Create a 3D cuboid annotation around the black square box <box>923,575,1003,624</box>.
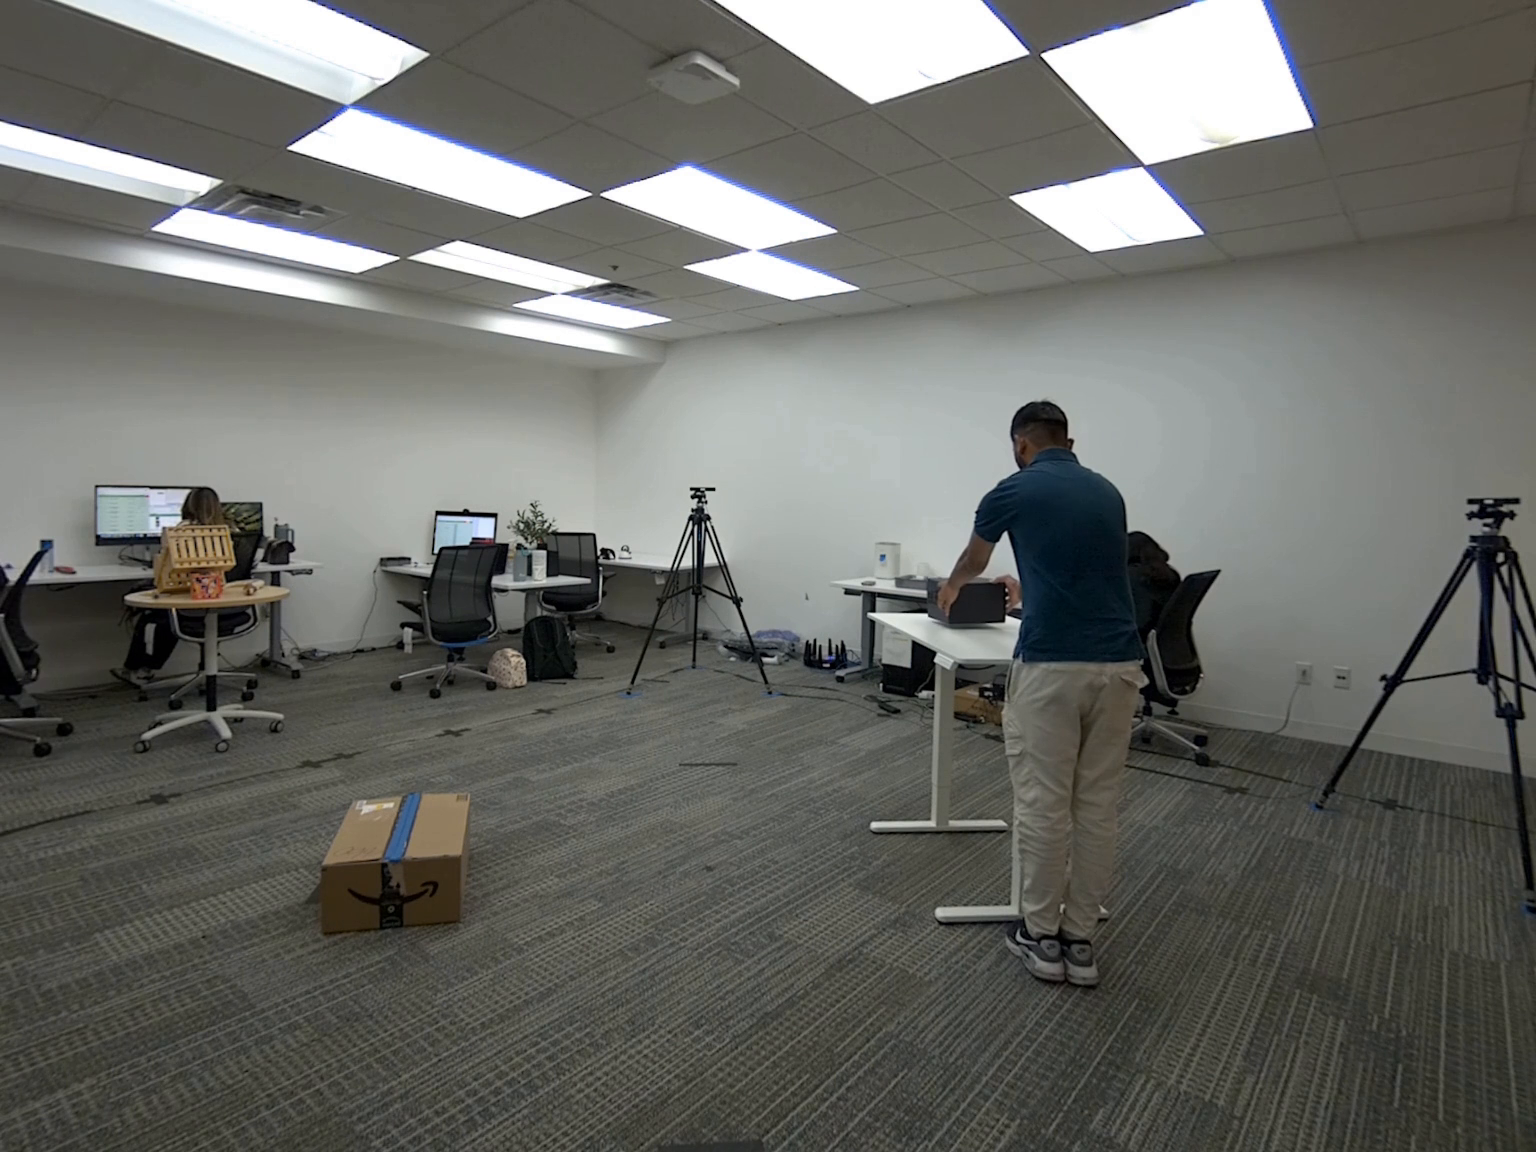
[{"bbox_3d":[0.758,0.087,3.290,0.226,0.155,0.220,0,5,-8],"label":"black square box"}]
